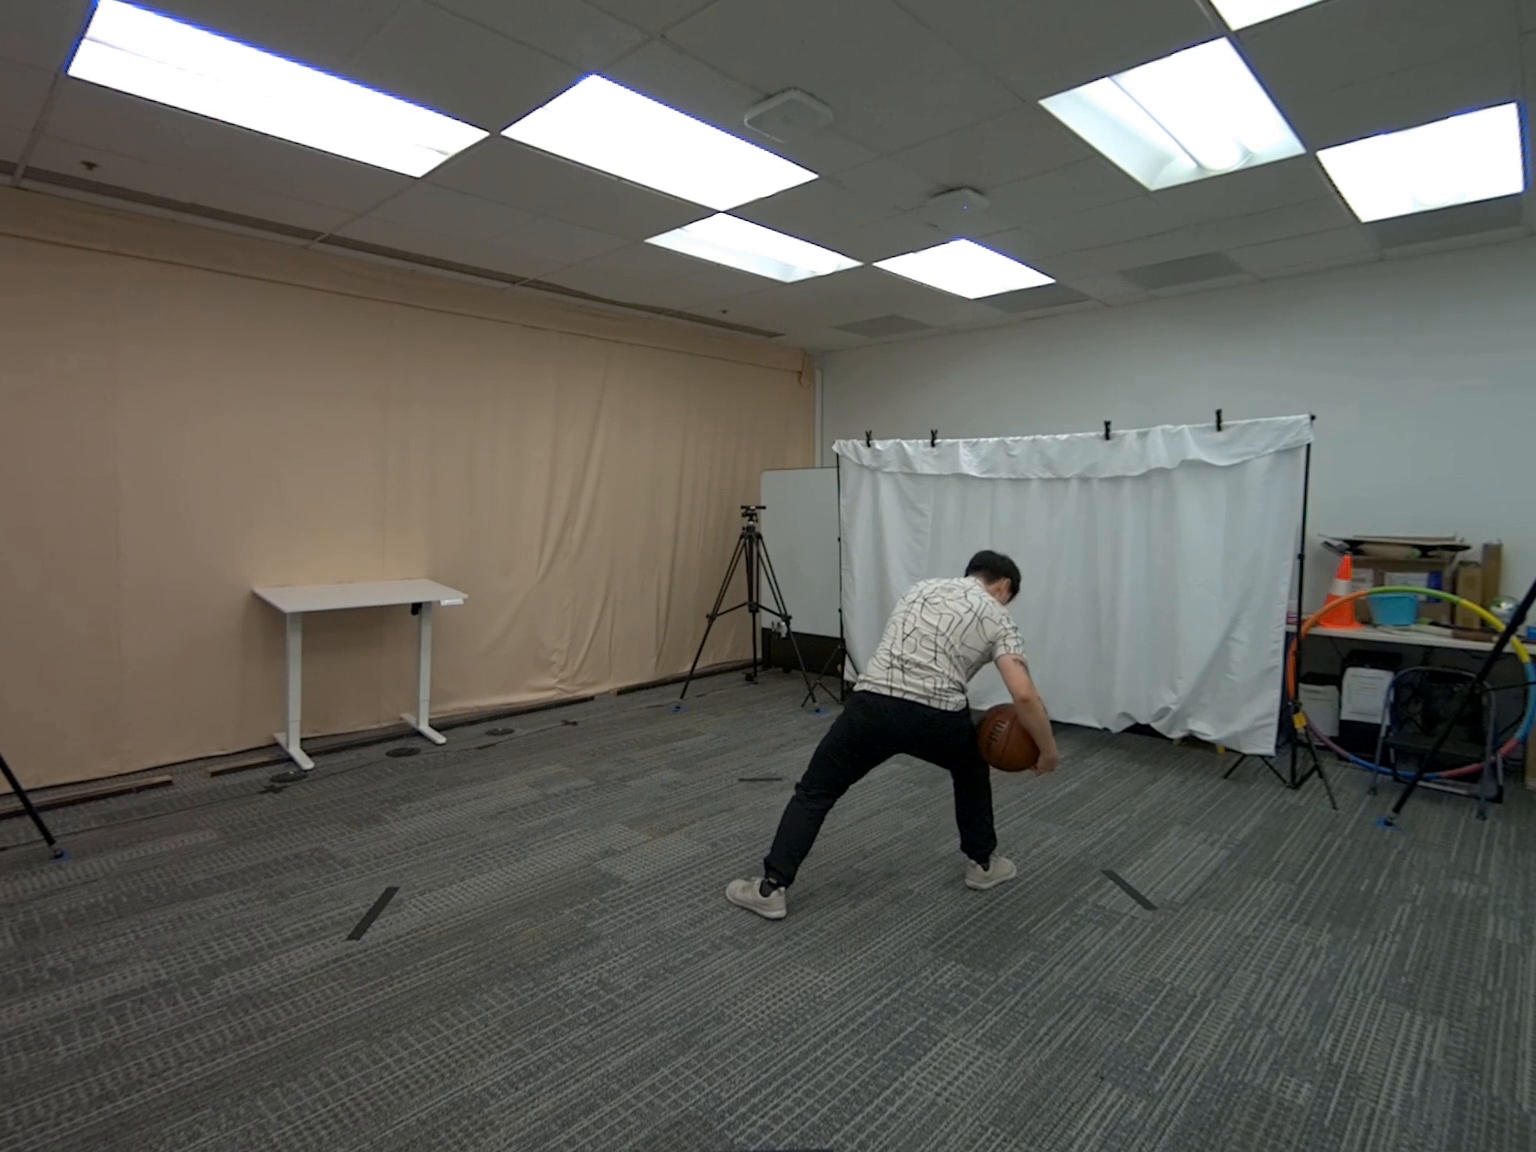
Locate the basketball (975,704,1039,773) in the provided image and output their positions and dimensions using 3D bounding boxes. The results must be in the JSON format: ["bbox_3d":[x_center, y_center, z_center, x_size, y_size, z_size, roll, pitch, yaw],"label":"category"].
[{"bbox_3d":[0.864,0.574,2.961,0.236,0.235,0.237,0,4,-2],"label":"basketball"}]
